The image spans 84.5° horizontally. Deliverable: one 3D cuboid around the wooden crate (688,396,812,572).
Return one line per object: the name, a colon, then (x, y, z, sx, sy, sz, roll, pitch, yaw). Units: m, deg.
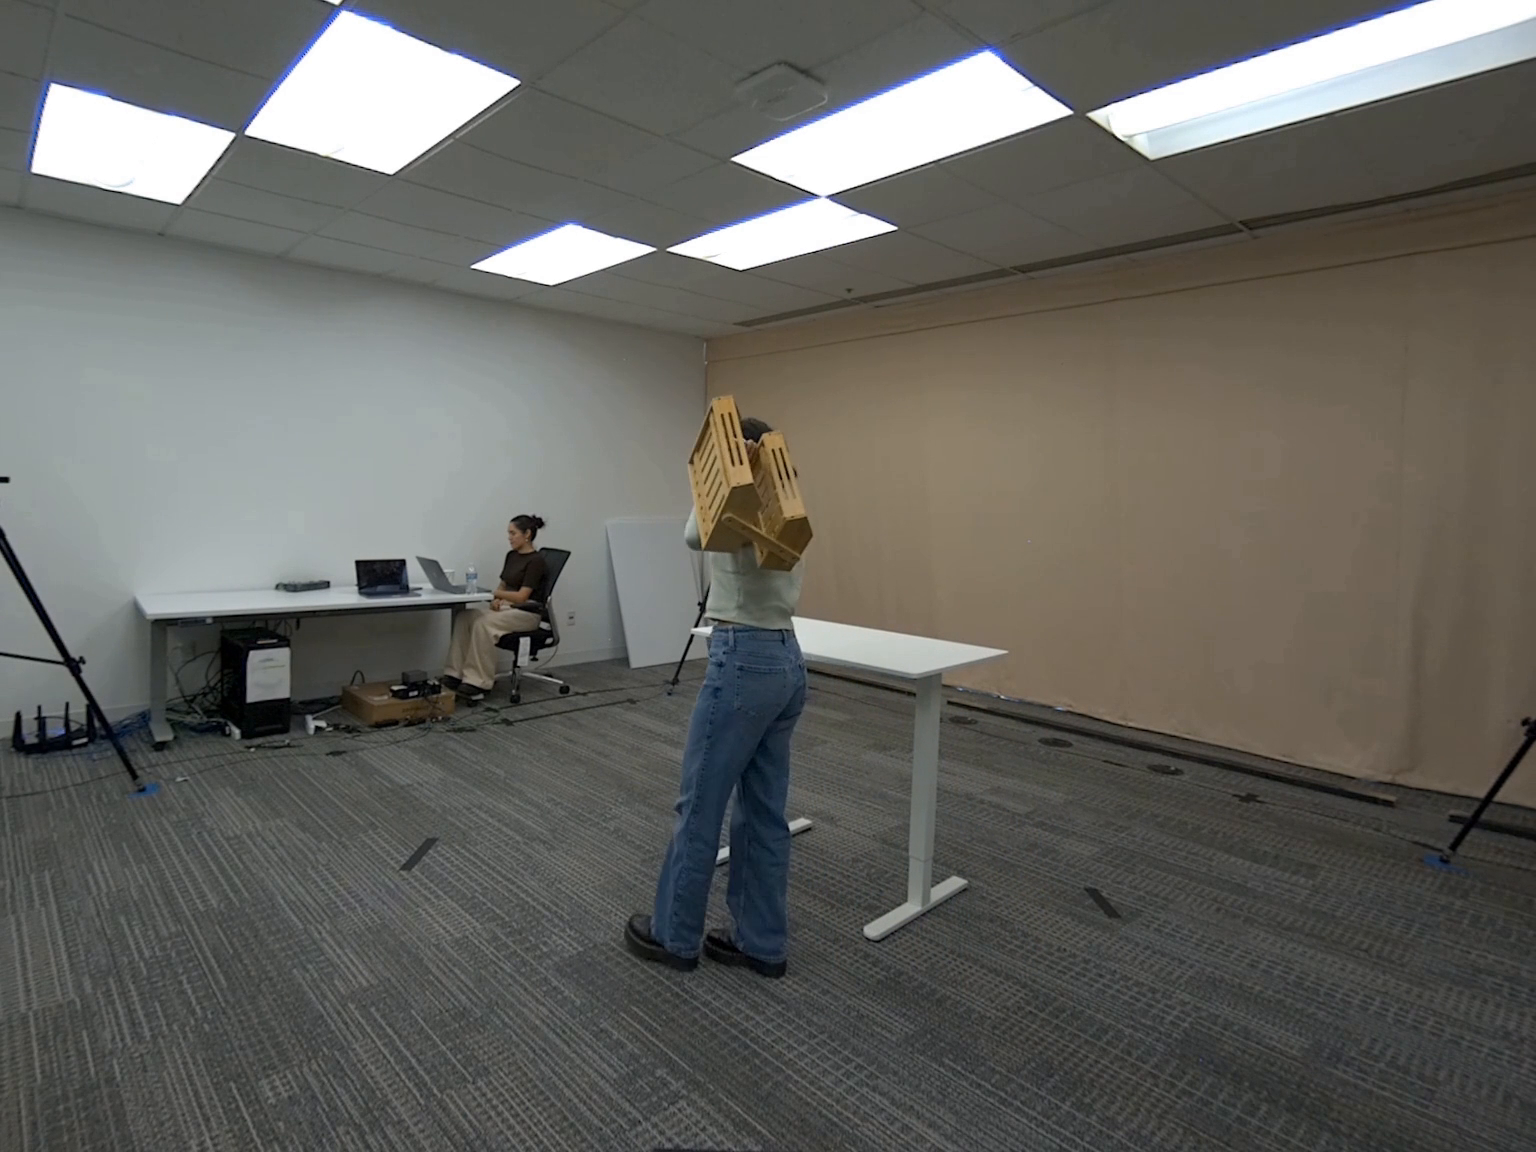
wooden crate: (-0.042, -0.228, 2.110, 0.268, 0.332, 0.300, 8, -40, -23)
